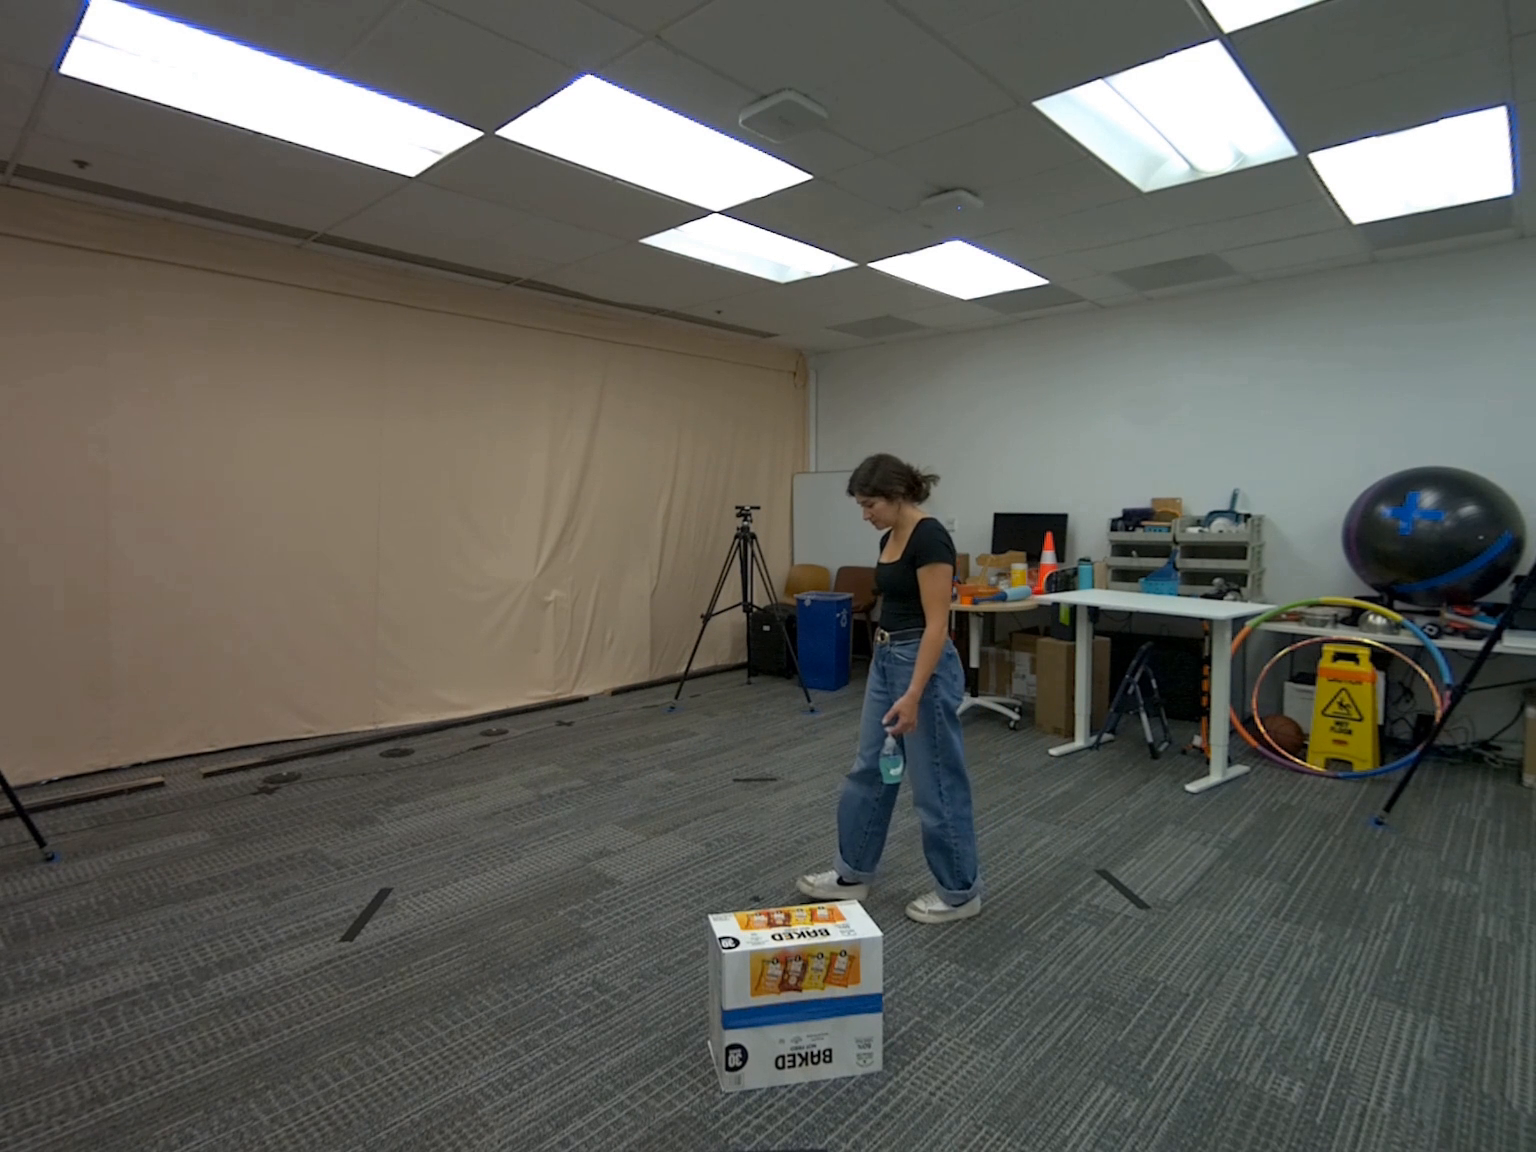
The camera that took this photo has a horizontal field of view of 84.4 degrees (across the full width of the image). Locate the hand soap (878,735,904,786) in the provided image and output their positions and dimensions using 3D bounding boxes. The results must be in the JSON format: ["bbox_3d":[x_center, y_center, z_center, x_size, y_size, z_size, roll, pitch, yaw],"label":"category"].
[{"bbox_3d":[0.391,0.553,2.618,0.082,0.168,0.044,-4,-3,-35],"label":"hand soap"}]
